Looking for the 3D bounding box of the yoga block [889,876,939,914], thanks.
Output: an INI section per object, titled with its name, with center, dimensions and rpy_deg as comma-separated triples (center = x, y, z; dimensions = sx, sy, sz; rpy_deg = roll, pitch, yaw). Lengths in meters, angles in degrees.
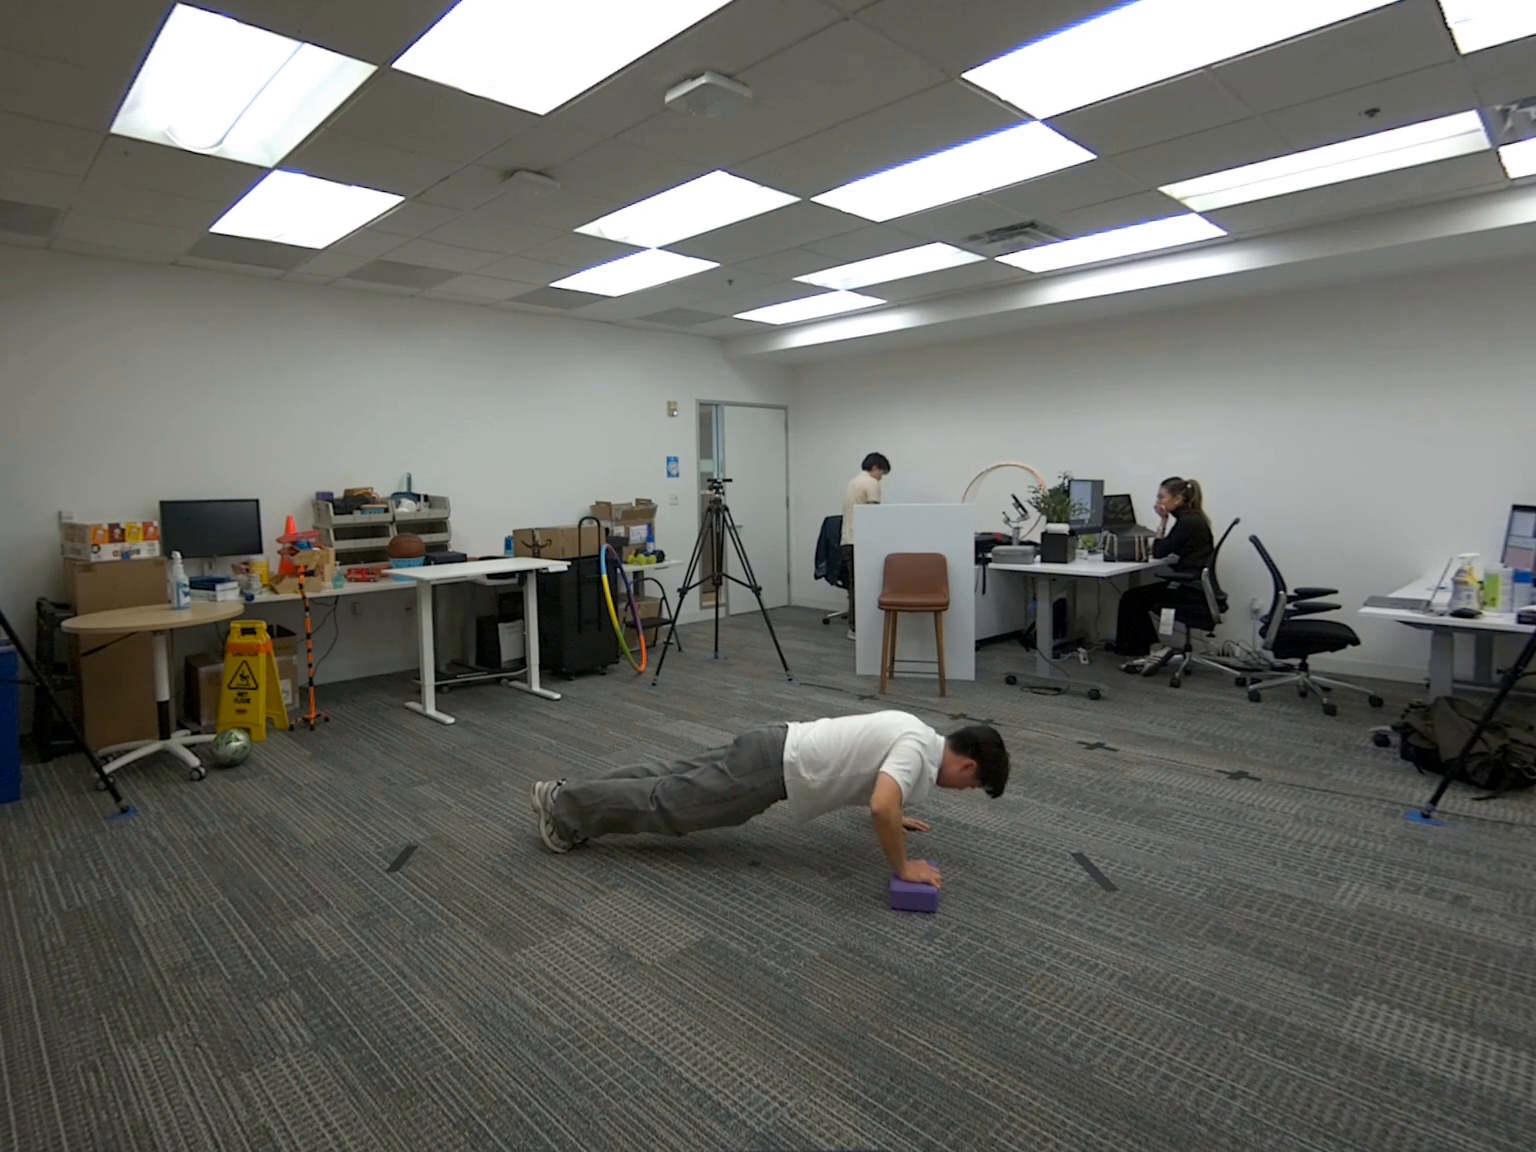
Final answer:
[yoga block]
center = 0.492, 1.034, 2.850
dimensions = 0.151, 0.076, 0.227
rpy_deg = -1, 5, 12
